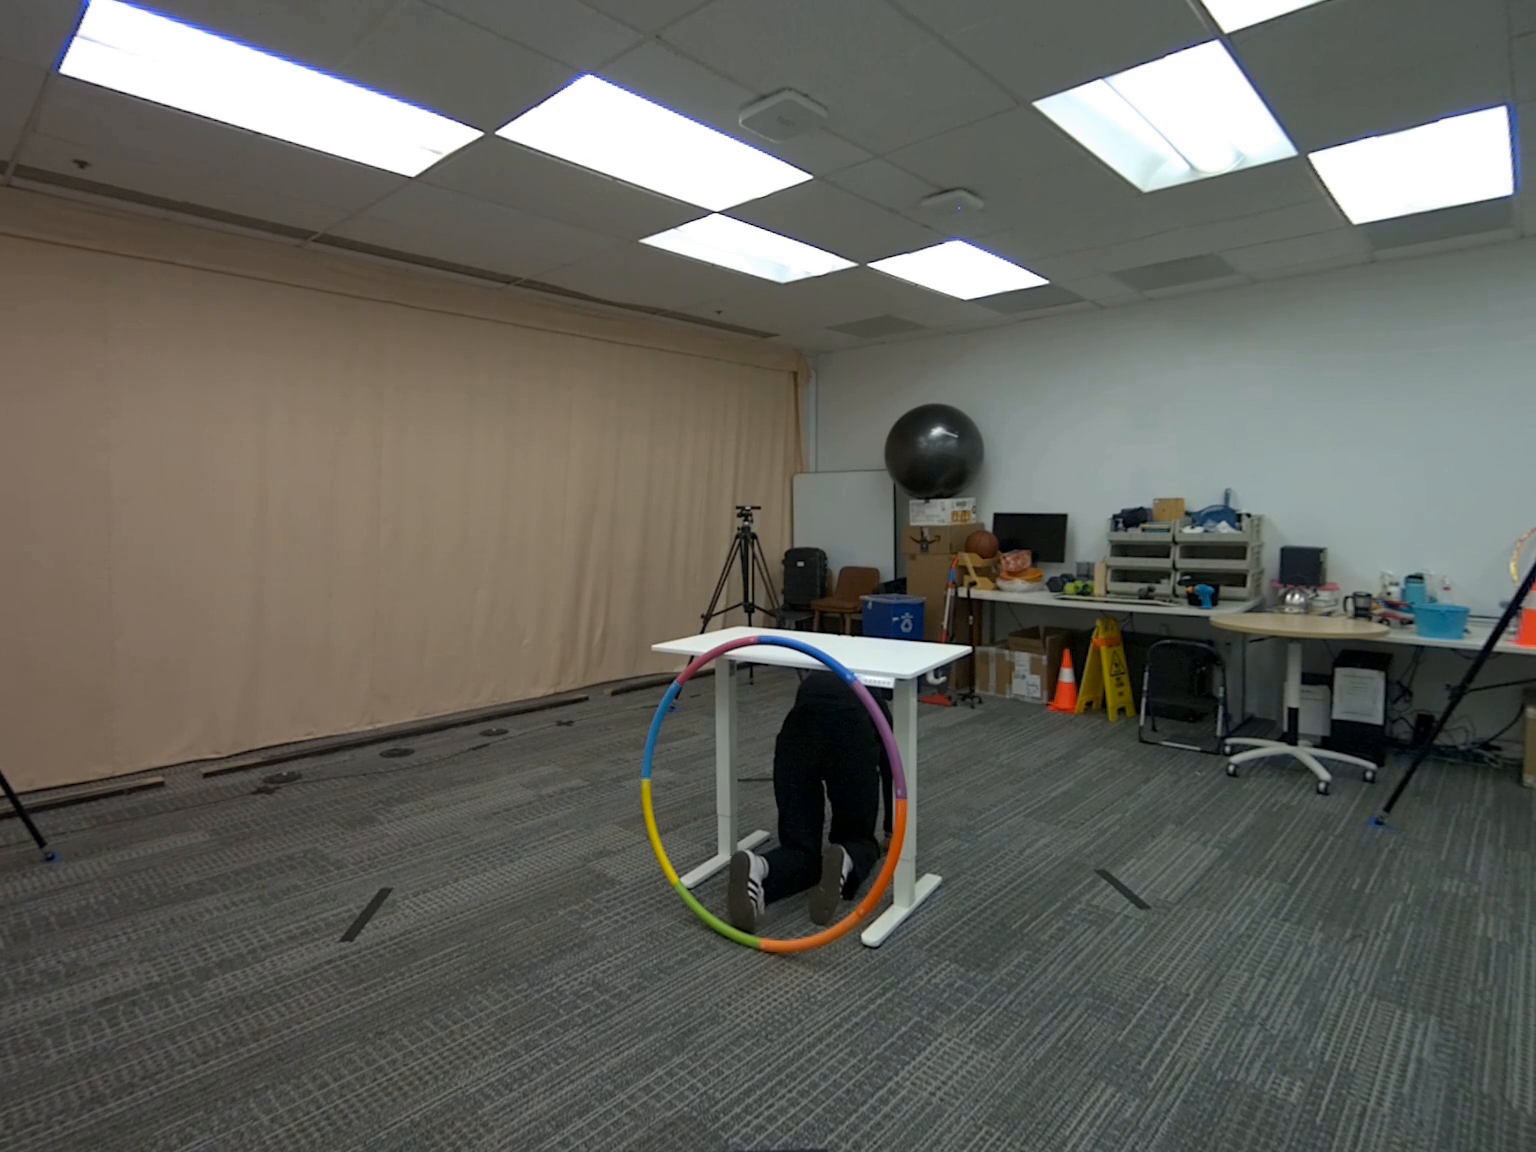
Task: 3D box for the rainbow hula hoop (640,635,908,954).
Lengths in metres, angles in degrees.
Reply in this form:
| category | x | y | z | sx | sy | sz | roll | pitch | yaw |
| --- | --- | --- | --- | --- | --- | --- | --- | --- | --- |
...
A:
| category | x | y | z | sx | sy | sz | roll | pitch | yaw |
| --- | --- | --- | --- | --- | --- | --- | --- | --- | --- |
| rainbow hula hoop | -0.020 | 0.684 | 2.729 | 1.009 | 0.982 | 0.034 | 2 | -8 | 34 |
